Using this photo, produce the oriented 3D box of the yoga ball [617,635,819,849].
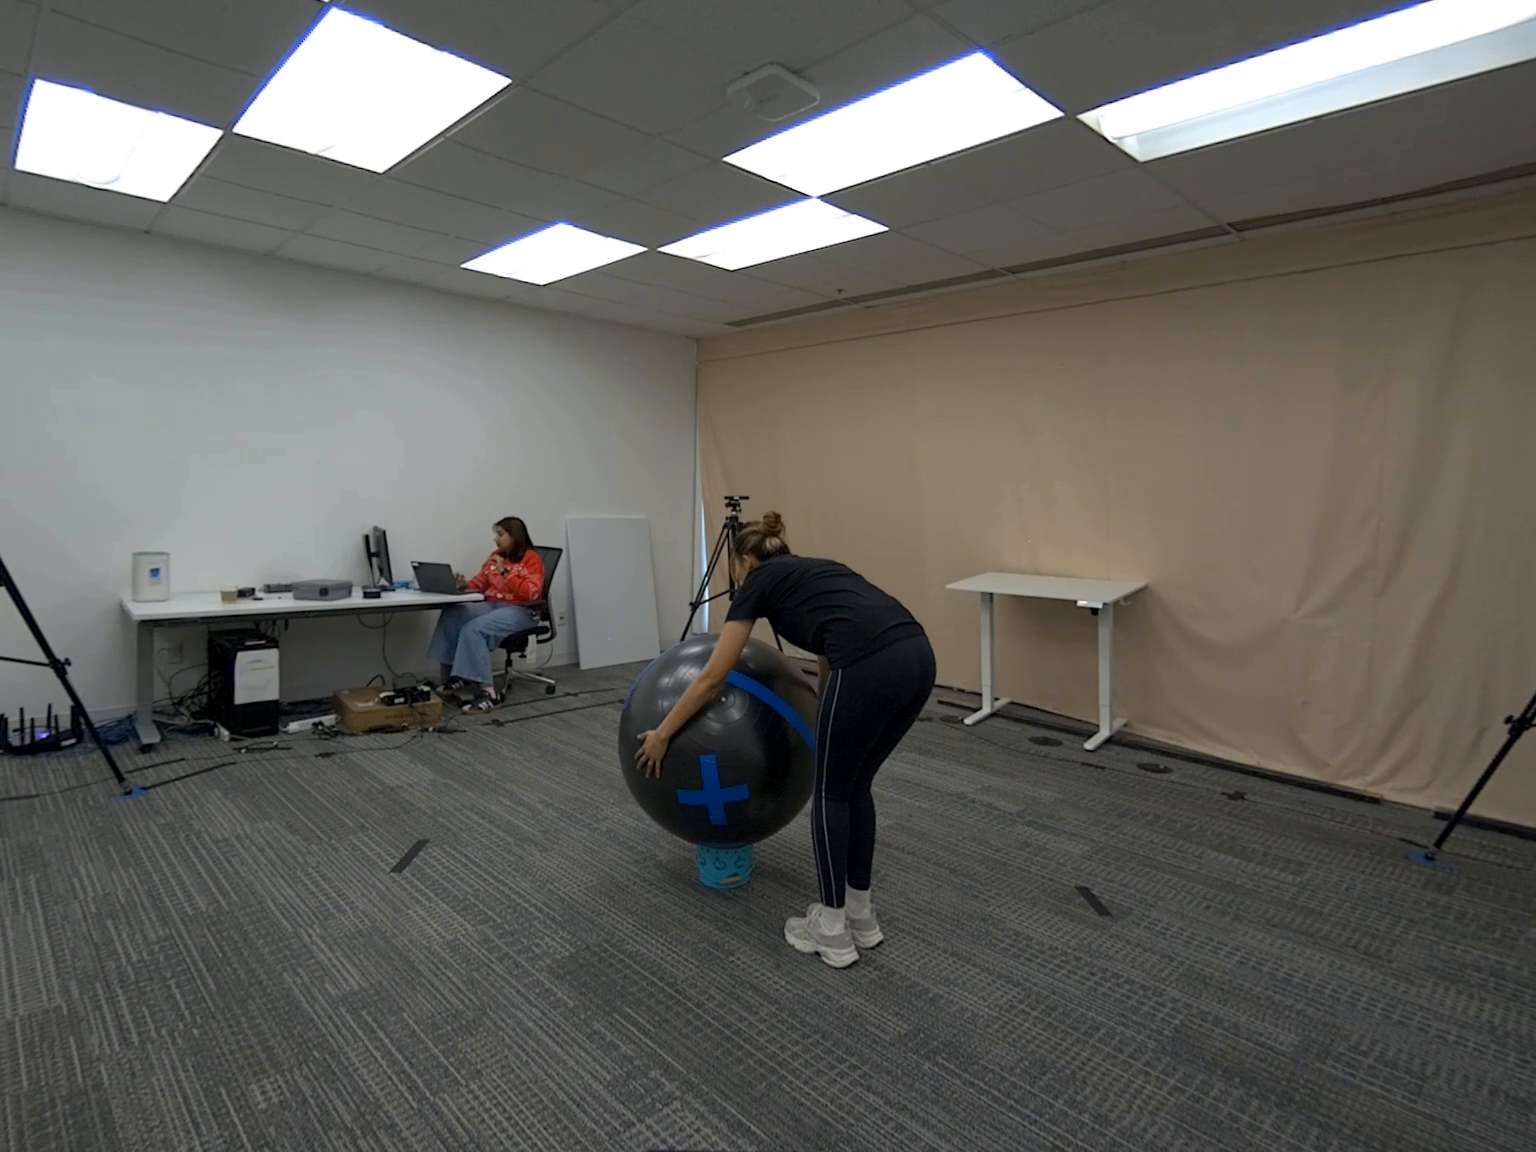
[{"bbox_3d":[-0.174,0.596,3.073,0.757,0.756,0.761,1,4,-1],"label":"yoga ball"}]
